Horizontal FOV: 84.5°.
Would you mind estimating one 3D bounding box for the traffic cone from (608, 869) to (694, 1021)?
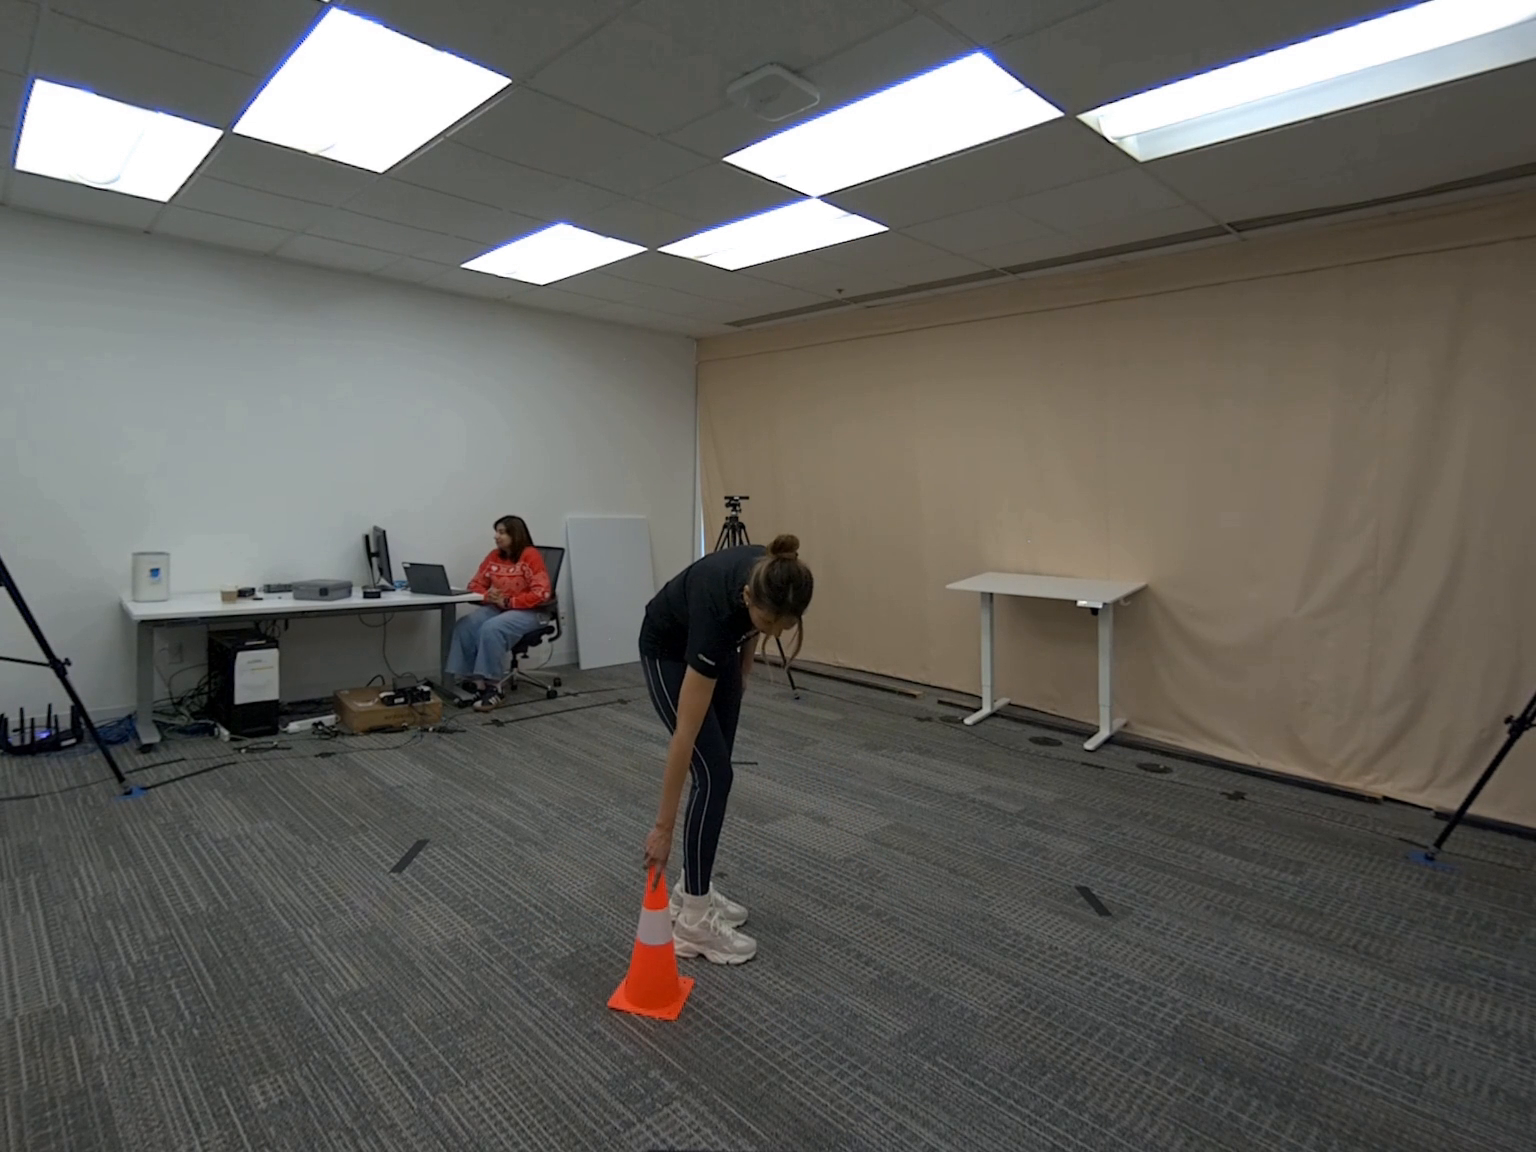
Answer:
[{"bbox_3d":[-0.317,0.984,2.340,0.206,0.383,0.203,4,3,14],"label":"traffic cone"}]
